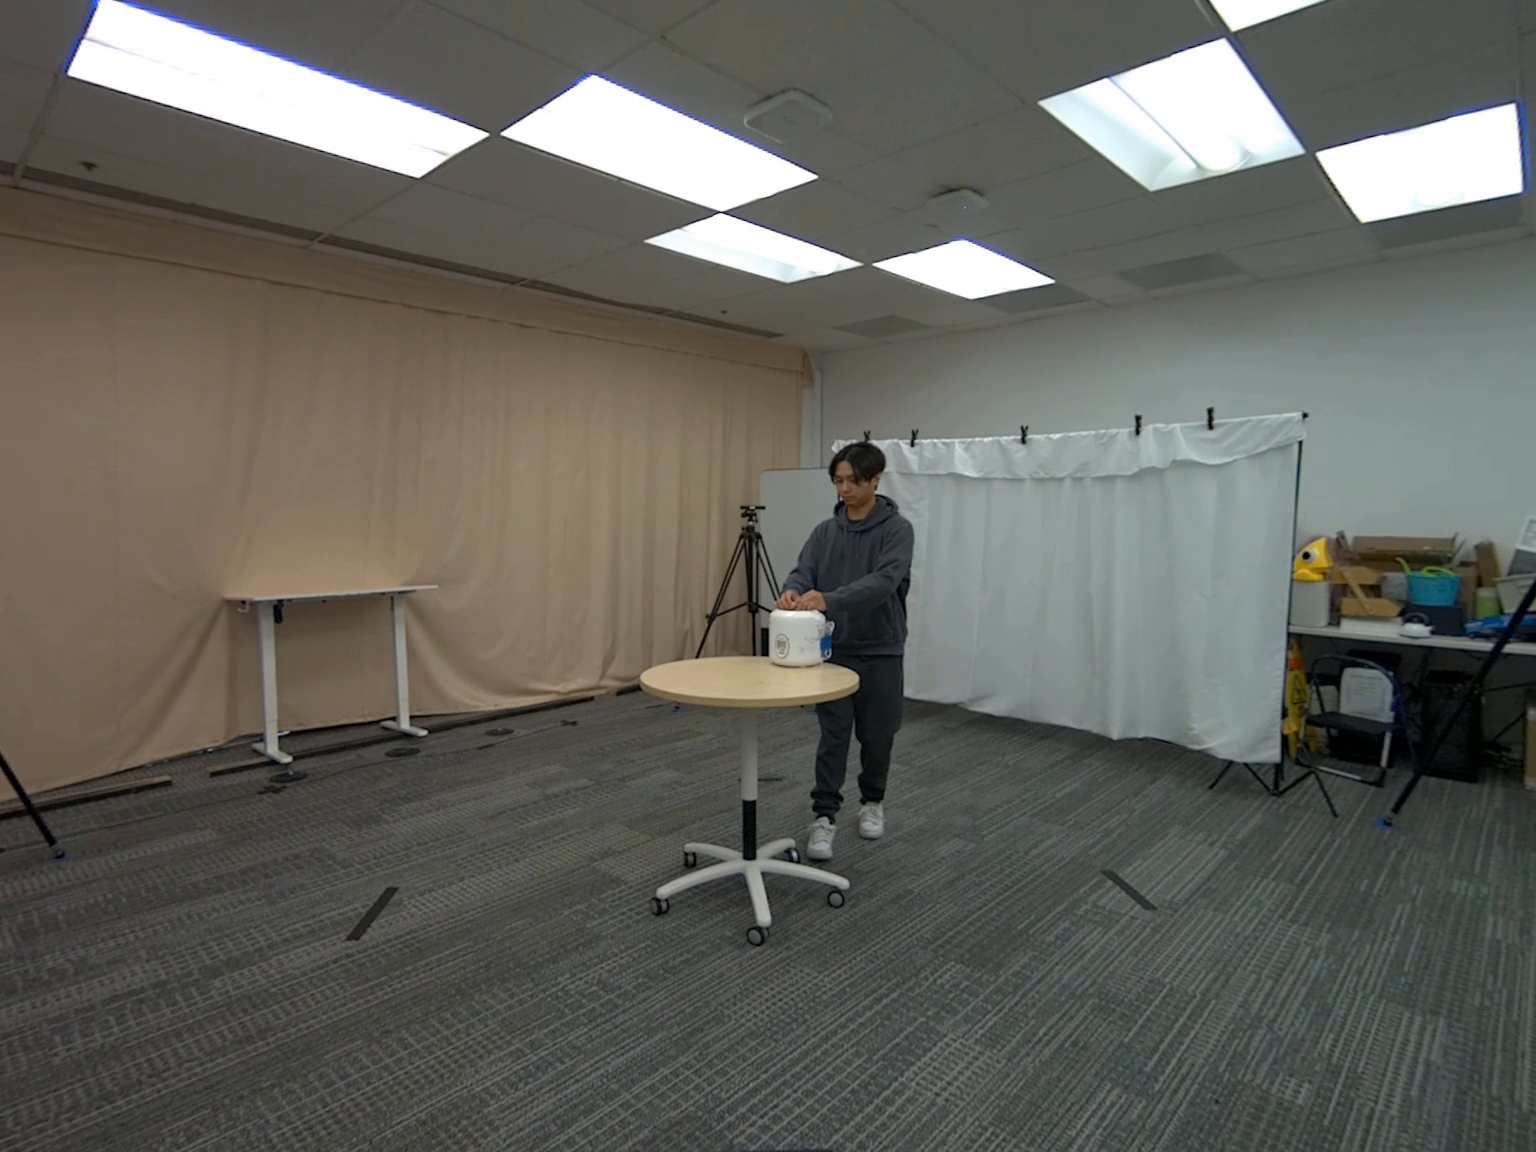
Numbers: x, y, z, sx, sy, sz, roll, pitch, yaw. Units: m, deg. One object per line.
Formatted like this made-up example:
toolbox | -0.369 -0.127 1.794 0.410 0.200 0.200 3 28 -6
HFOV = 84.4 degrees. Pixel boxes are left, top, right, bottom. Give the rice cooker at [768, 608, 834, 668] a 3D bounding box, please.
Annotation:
rice cooker | 0.112 0.216 3.176 0.227 0.233 0.211 2 1 36
